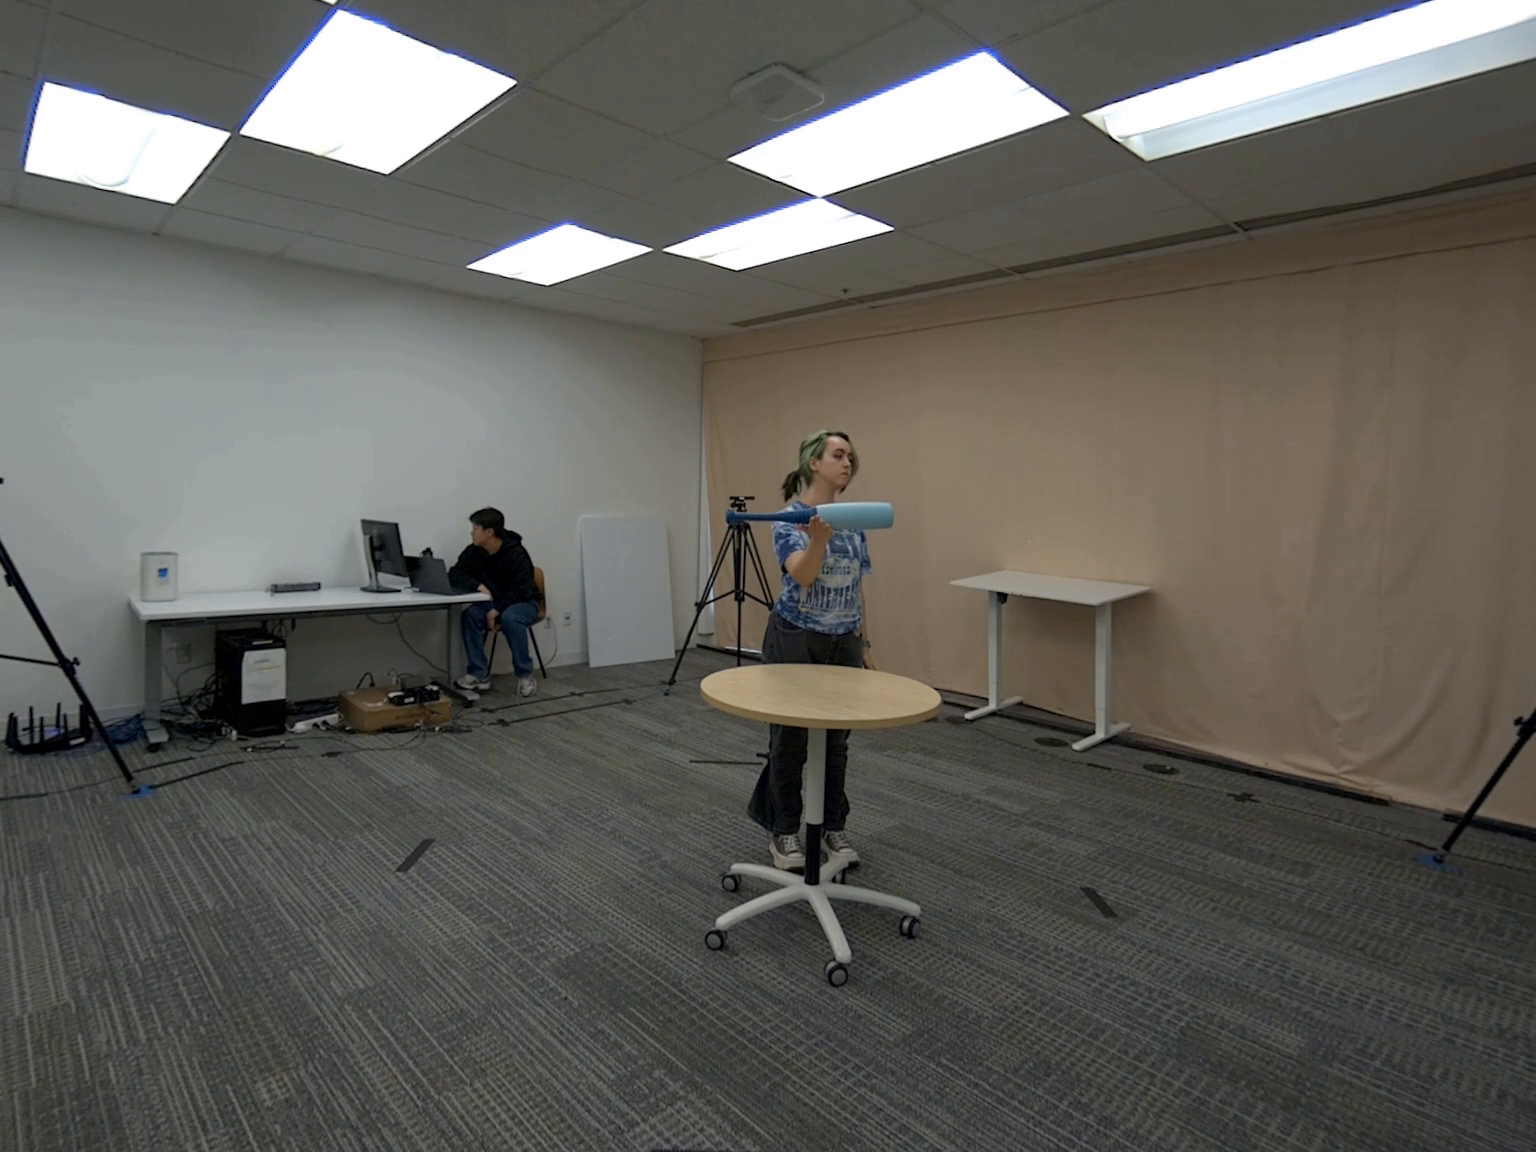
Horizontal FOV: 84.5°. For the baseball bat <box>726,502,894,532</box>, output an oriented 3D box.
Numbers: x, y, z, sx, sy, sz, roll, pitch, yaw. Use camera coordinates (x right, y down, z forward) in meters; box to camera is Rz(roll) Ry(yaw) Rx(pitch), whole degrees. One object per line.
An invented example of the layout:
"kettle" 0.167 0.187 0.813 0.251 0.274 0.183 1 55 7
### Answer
"baseball bat" 0.131 -0.193 2.722 0.542 0.089 0.089 0 4 -2
